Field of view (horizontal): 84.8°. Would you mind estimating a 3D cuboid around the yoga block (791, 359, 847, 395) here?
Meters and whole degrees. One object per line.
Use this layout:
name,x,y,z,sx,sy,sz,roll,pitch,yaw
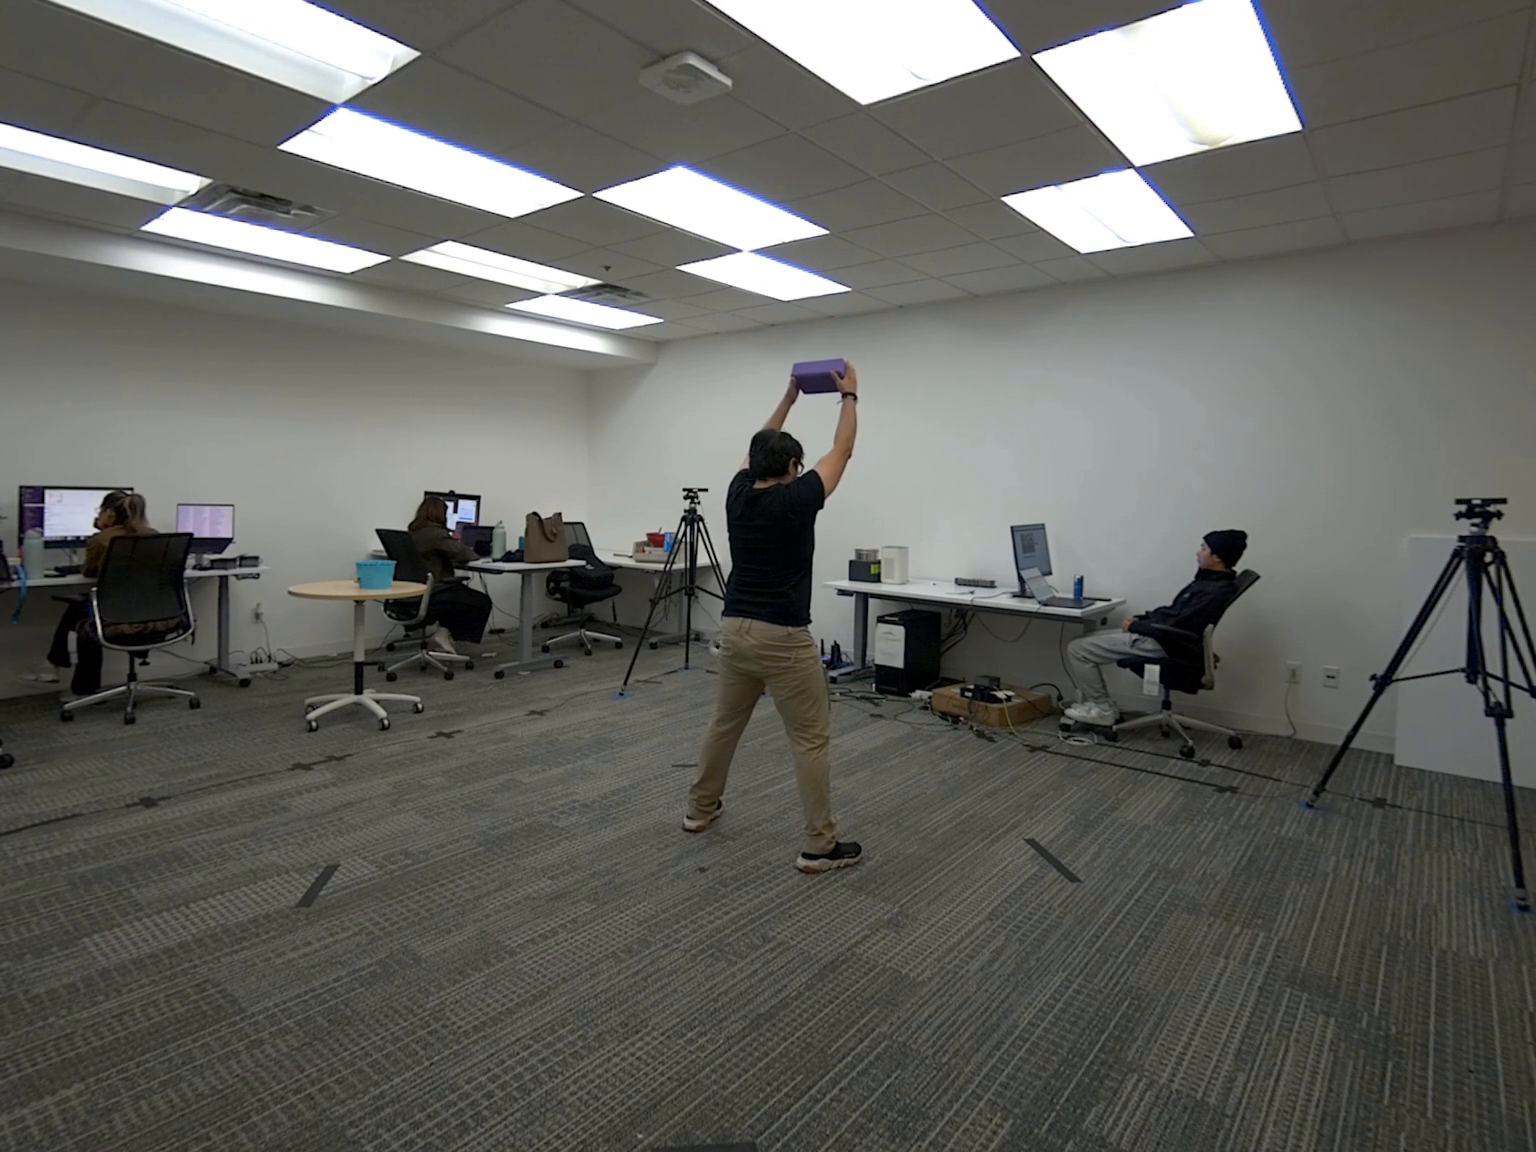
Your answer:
yoga block,0.215,-0.826,3.549,0.236,0.077,0.143,3,-23,31
